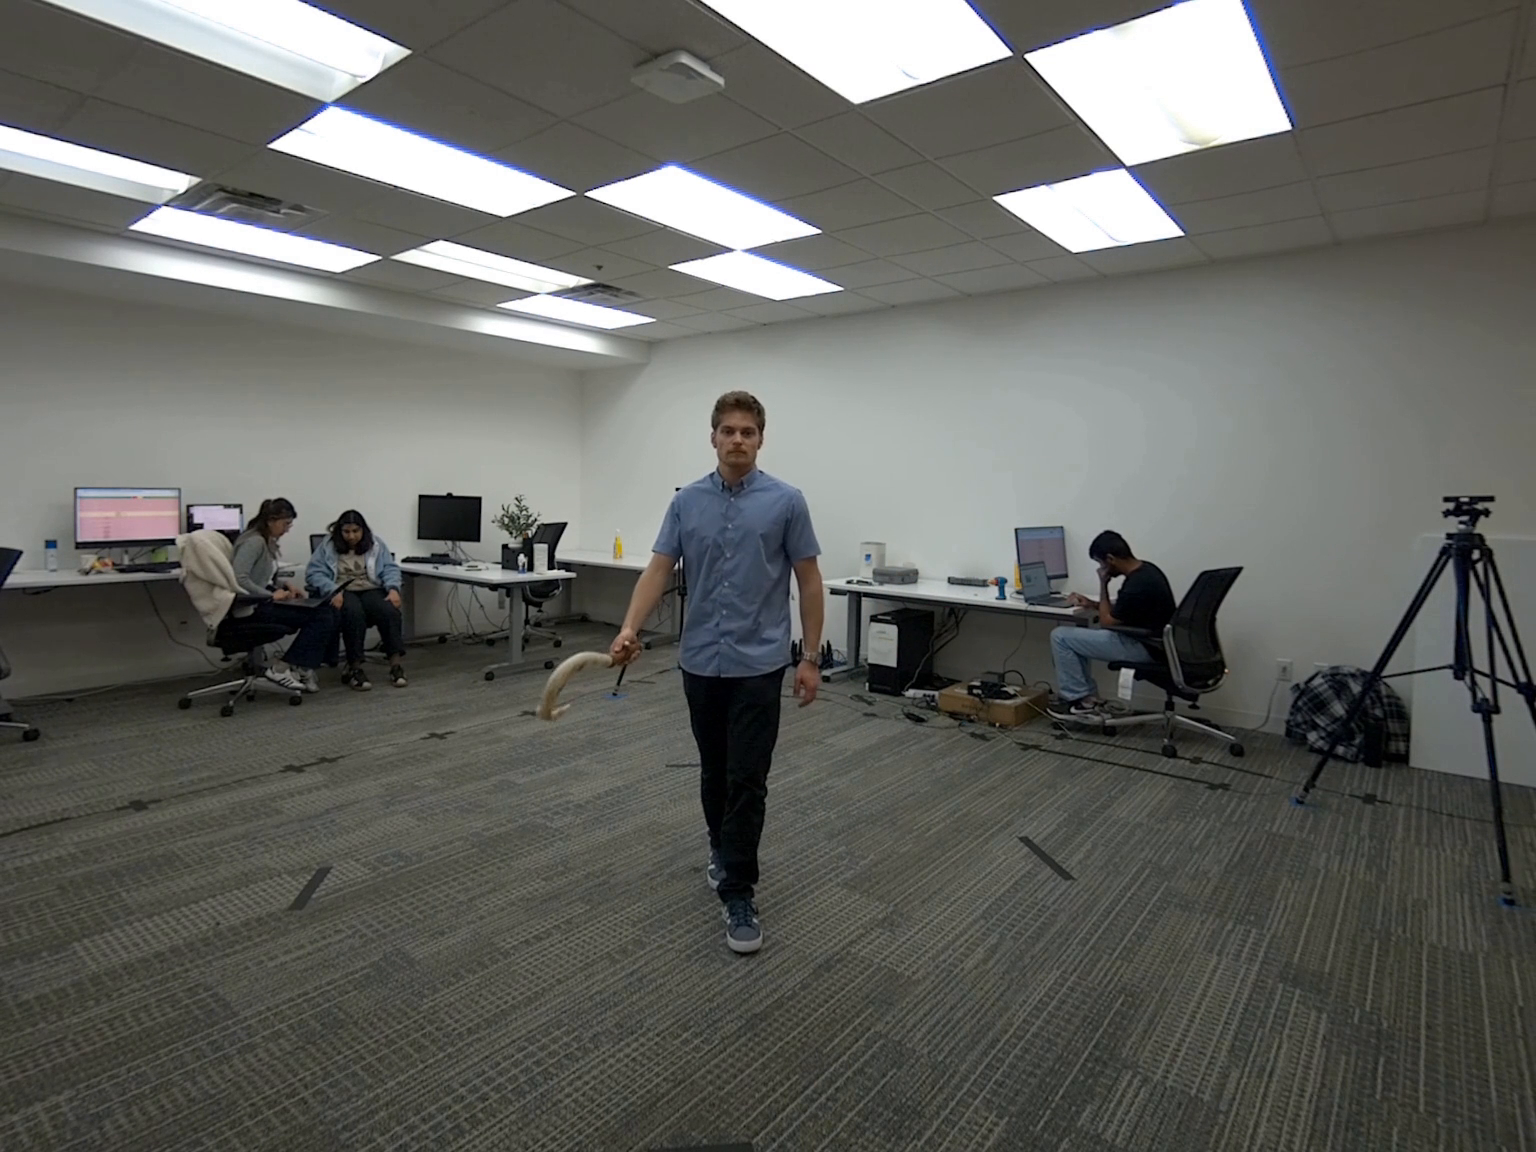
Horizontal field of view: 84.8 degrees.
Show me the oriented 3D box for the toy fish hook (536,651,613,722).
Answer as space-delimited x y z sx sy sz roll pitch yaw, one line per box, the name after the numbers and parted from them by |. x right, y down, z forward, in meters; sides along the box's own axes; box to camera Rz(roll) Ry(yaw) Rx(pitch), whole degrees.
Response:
-0.522 0.278 2.481 0.049 0.223 0.497 33 14 13 | toy fish hook
